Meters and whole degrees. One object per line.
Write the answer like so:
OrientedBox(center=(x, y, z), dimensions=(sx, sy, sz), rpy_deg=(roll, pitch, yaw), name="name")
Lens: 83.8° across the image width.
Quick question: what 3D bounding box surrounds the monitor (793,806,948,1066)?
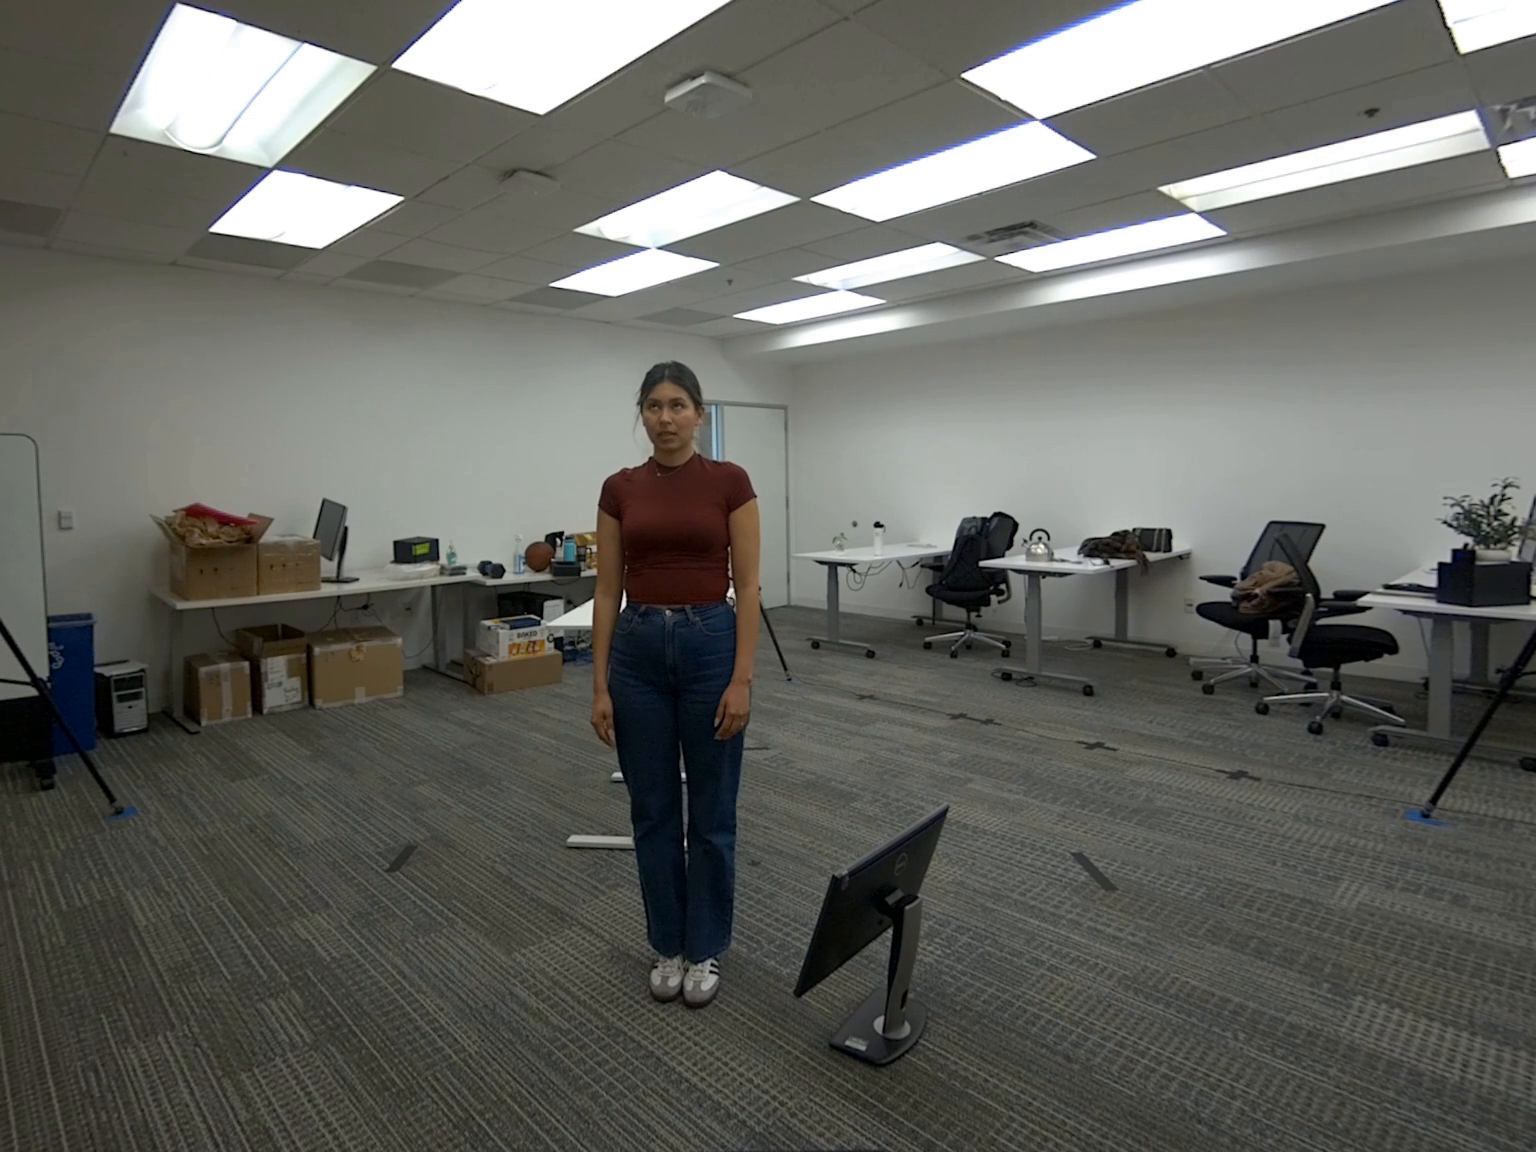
OrientedBox(center=(0.297, 0.892, 2.142), dimensions=(0.193, 0.519, 0.526), rpy_deg=(6, 9, 36), name="monitor")
